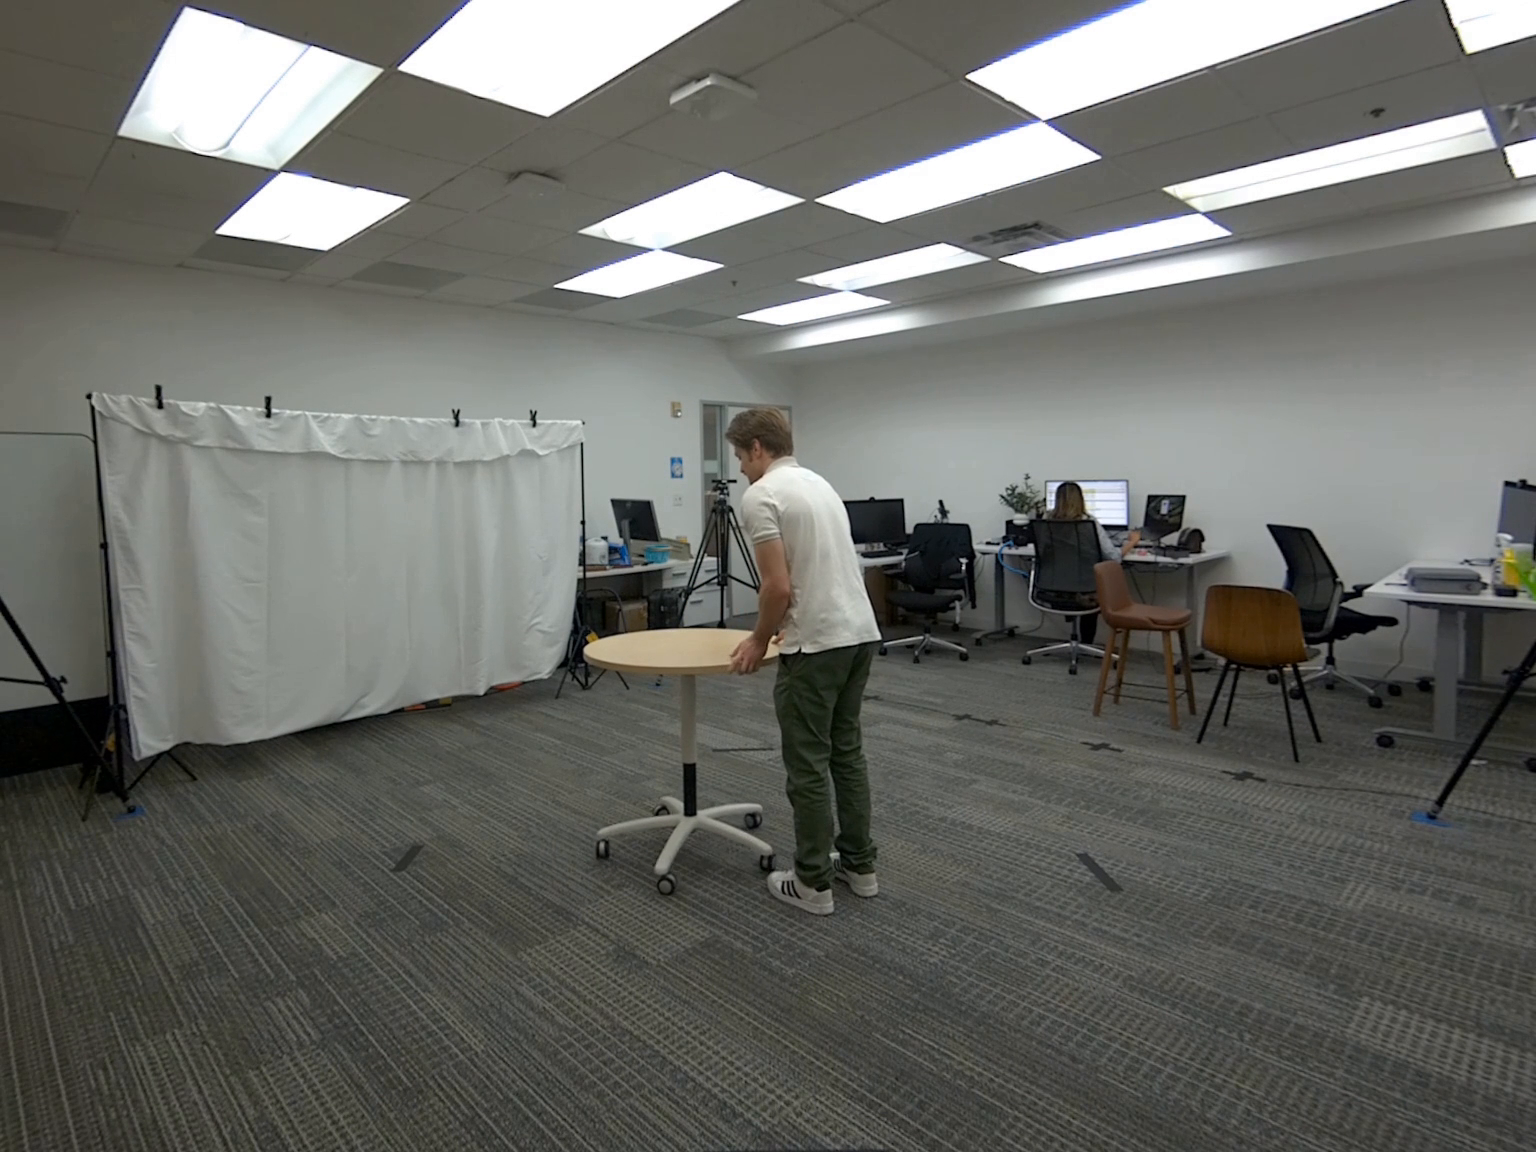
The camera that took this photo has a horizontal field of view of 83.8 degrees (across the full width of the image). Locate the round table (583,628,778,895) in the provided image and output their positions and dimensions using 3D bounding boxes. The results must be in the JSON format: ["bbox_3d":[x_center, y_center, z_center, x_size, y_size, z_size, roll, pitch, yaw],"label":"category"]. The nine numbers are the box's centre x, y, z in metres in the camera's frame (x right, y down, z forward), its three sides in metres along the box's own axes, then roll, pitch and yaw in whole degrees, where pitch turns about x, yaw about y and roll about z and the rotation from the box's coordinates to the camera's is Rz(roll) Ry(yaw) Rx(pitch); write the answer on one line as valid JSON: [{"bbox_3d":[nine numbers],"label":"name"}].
[{"bbox_3d":[-0.293,0.651,3.207,0.763,0.791,0.767,-1,4,-2],"label":"round table"}]
